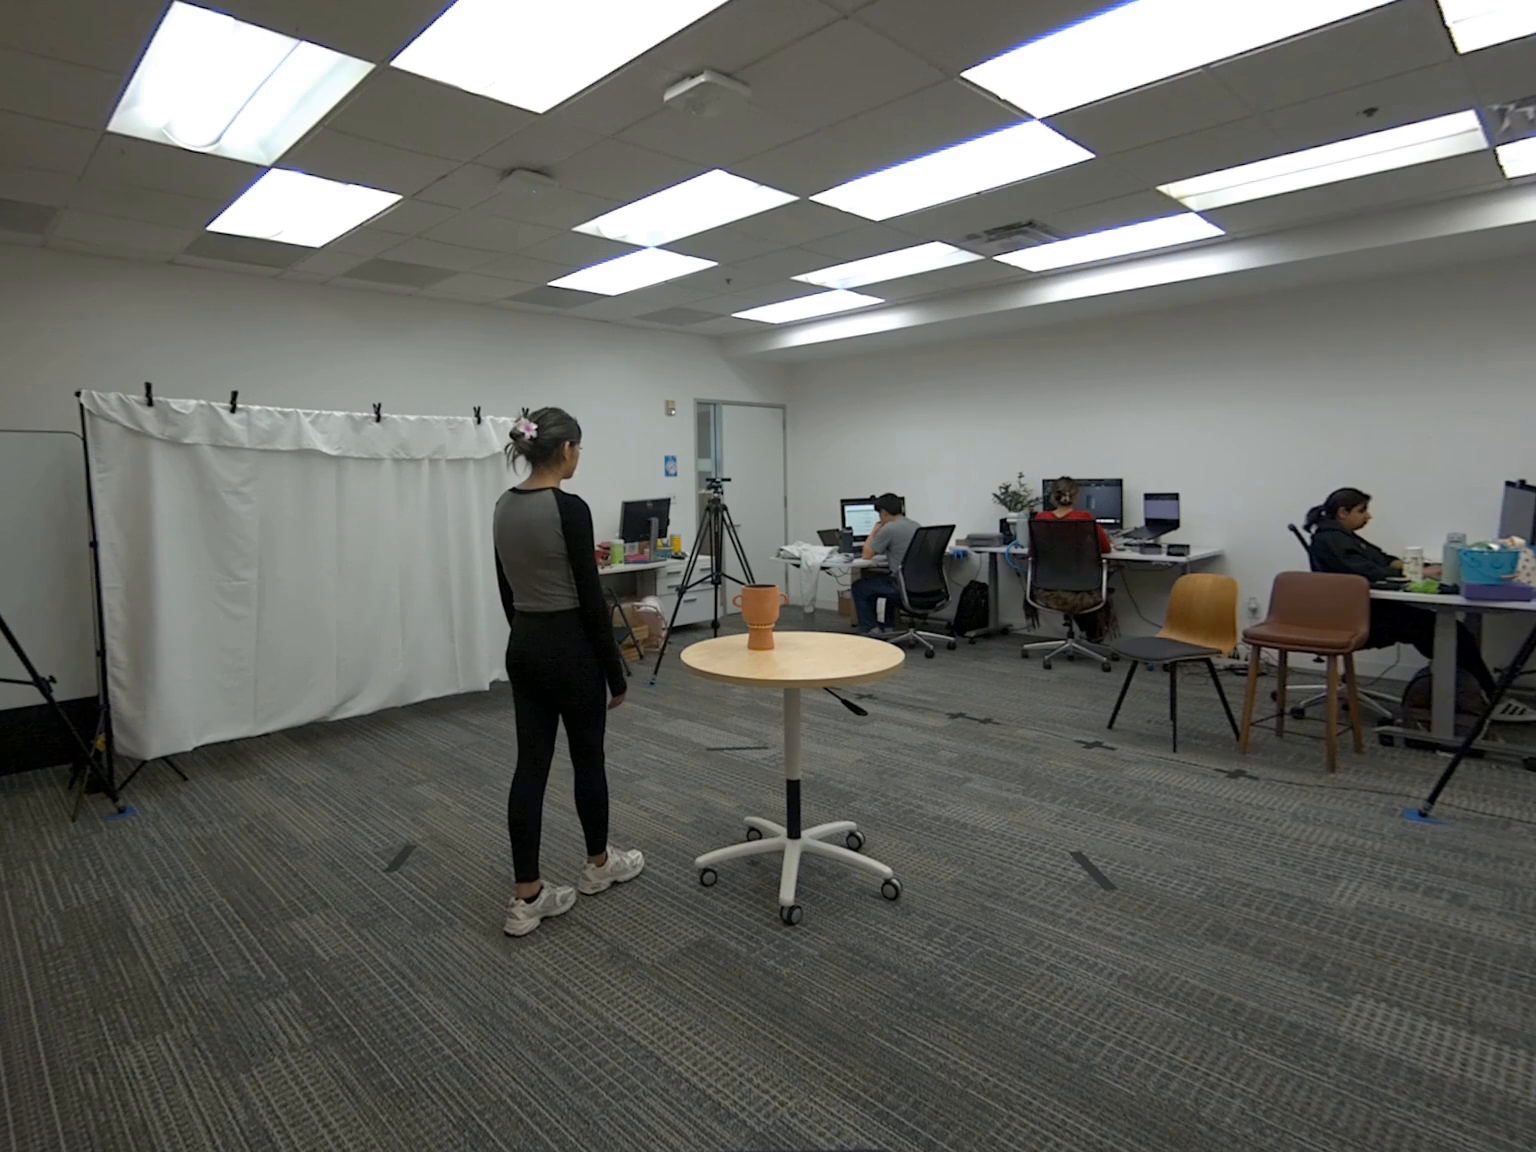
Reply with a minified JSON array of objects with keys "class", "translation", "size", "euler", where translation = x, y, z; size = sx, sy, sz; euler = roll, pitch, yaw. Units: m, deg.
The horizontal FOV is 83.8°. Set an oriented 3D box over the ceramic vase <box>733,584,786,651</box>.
[{"class":"ceramic vase","translation":[-0.024,0.144,3.037],"size":[0.163,0.219,0.131],"euler":[2,4,29]}]
